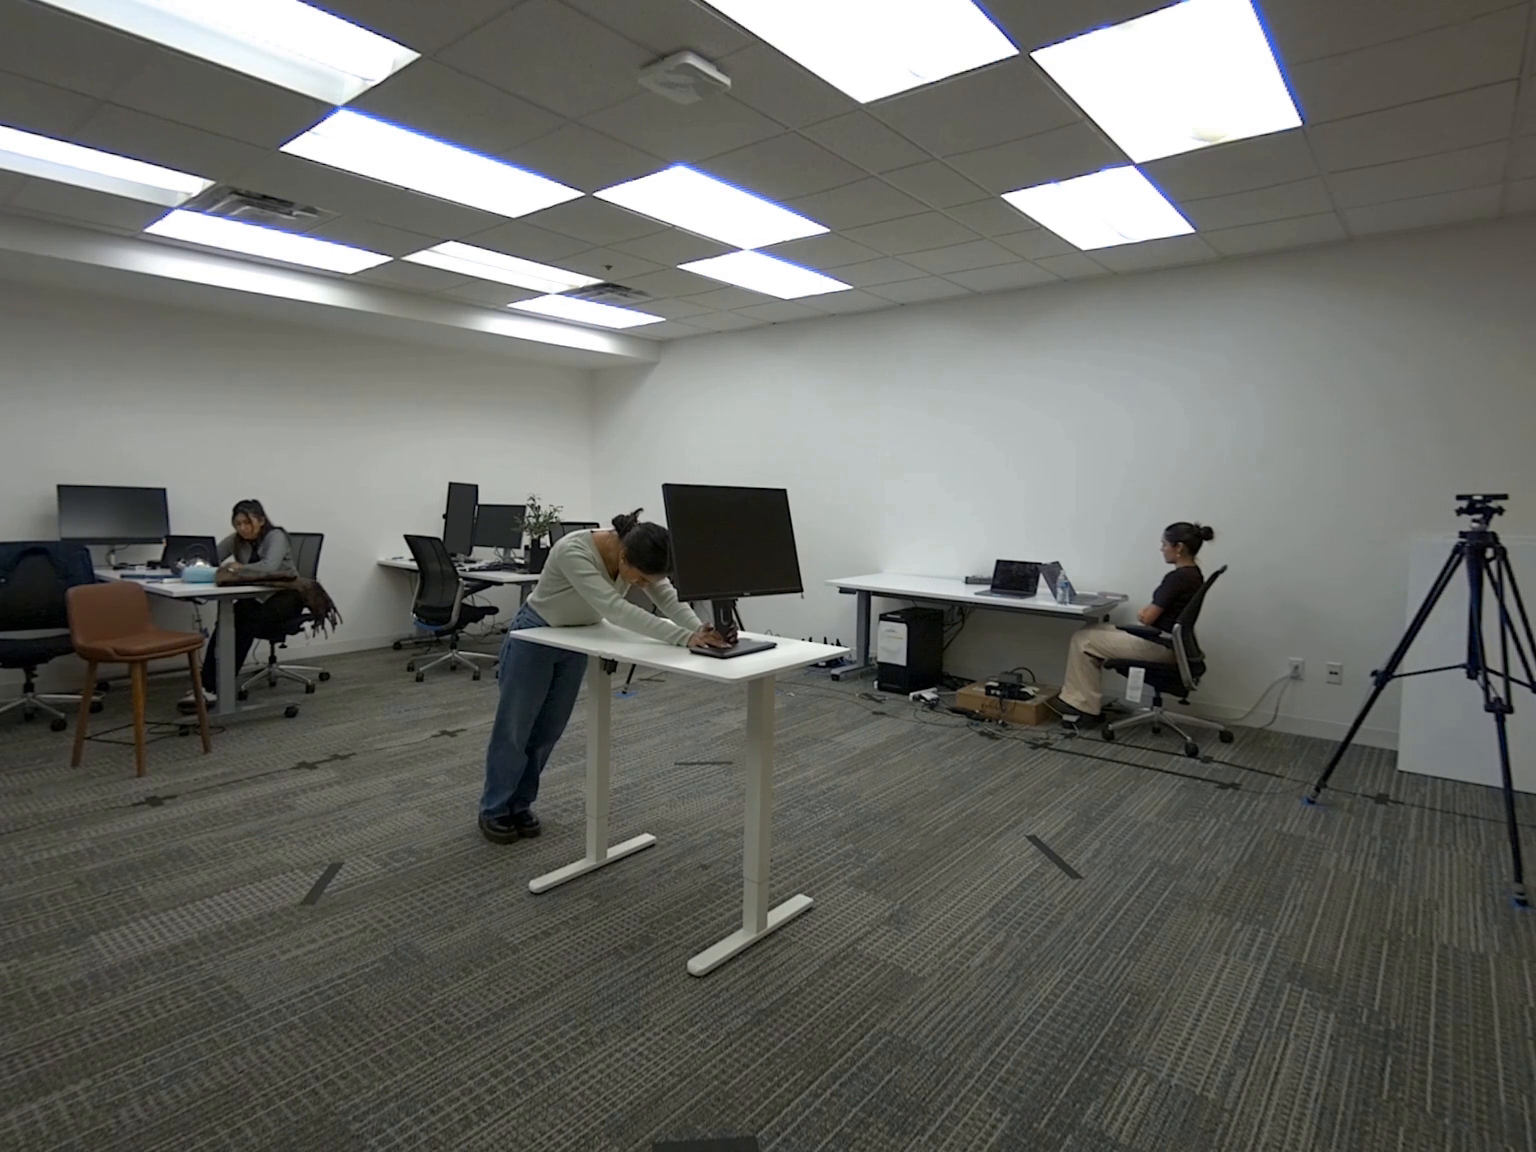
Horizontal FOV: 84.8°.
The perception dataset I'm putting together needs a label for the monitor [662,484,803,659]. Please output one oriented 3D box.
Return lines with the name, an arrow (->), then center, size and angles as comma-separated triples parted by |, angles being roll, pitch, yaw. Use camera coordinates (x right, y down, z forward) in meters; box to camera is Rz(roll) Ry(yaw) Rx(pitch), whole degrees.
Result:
monitor -> -0.124, -0.023, 2.666 | 0.193, 0.522, 0.522 | 0, 1, 43
